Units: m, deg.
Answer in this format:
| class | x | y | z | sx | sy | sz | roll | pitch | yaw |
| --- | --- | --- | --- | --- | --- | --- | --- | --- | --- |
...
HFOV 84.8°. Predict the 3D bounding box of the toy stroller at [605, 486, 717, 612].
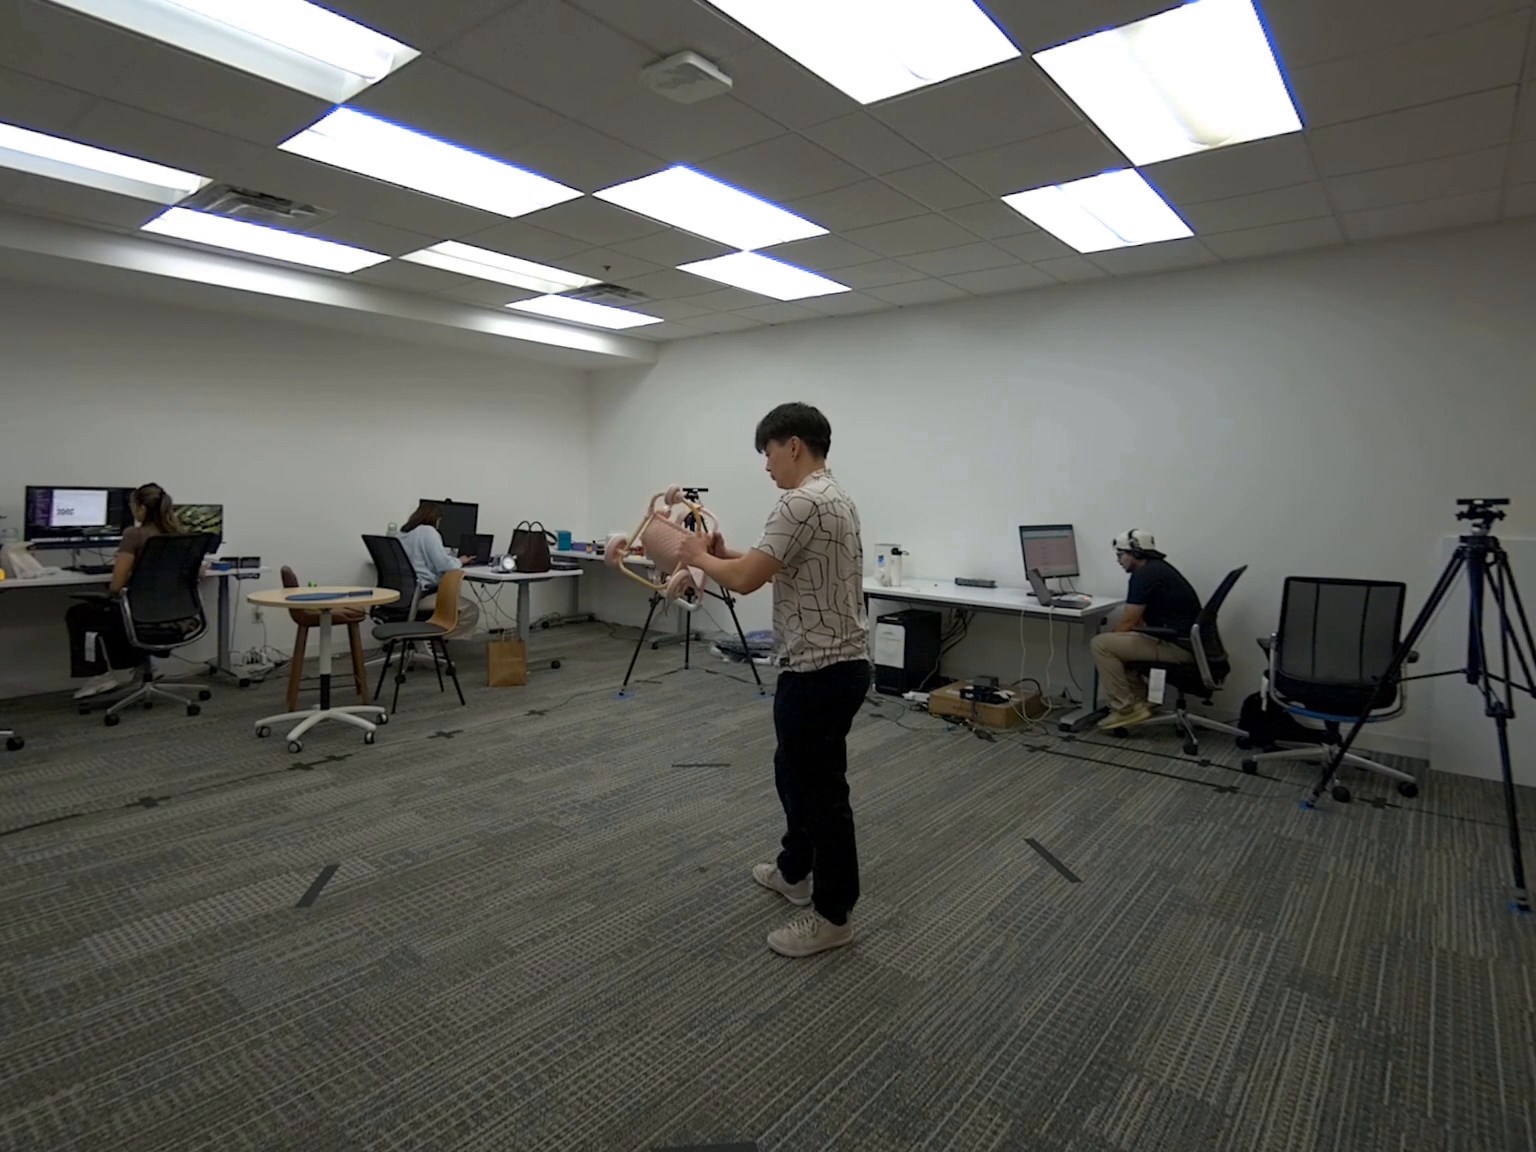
| class | x | y | z | sx | sy | sz | roll | pitch | yaw |
| --- | --- | --- | --- | --- | --- | --- | --- | --- | --- |
| toy stroller | -0.321 | -0.095 | 2.864 | 0.288 | 0.342 | 0.521 | 23 | -5 | 17 |
